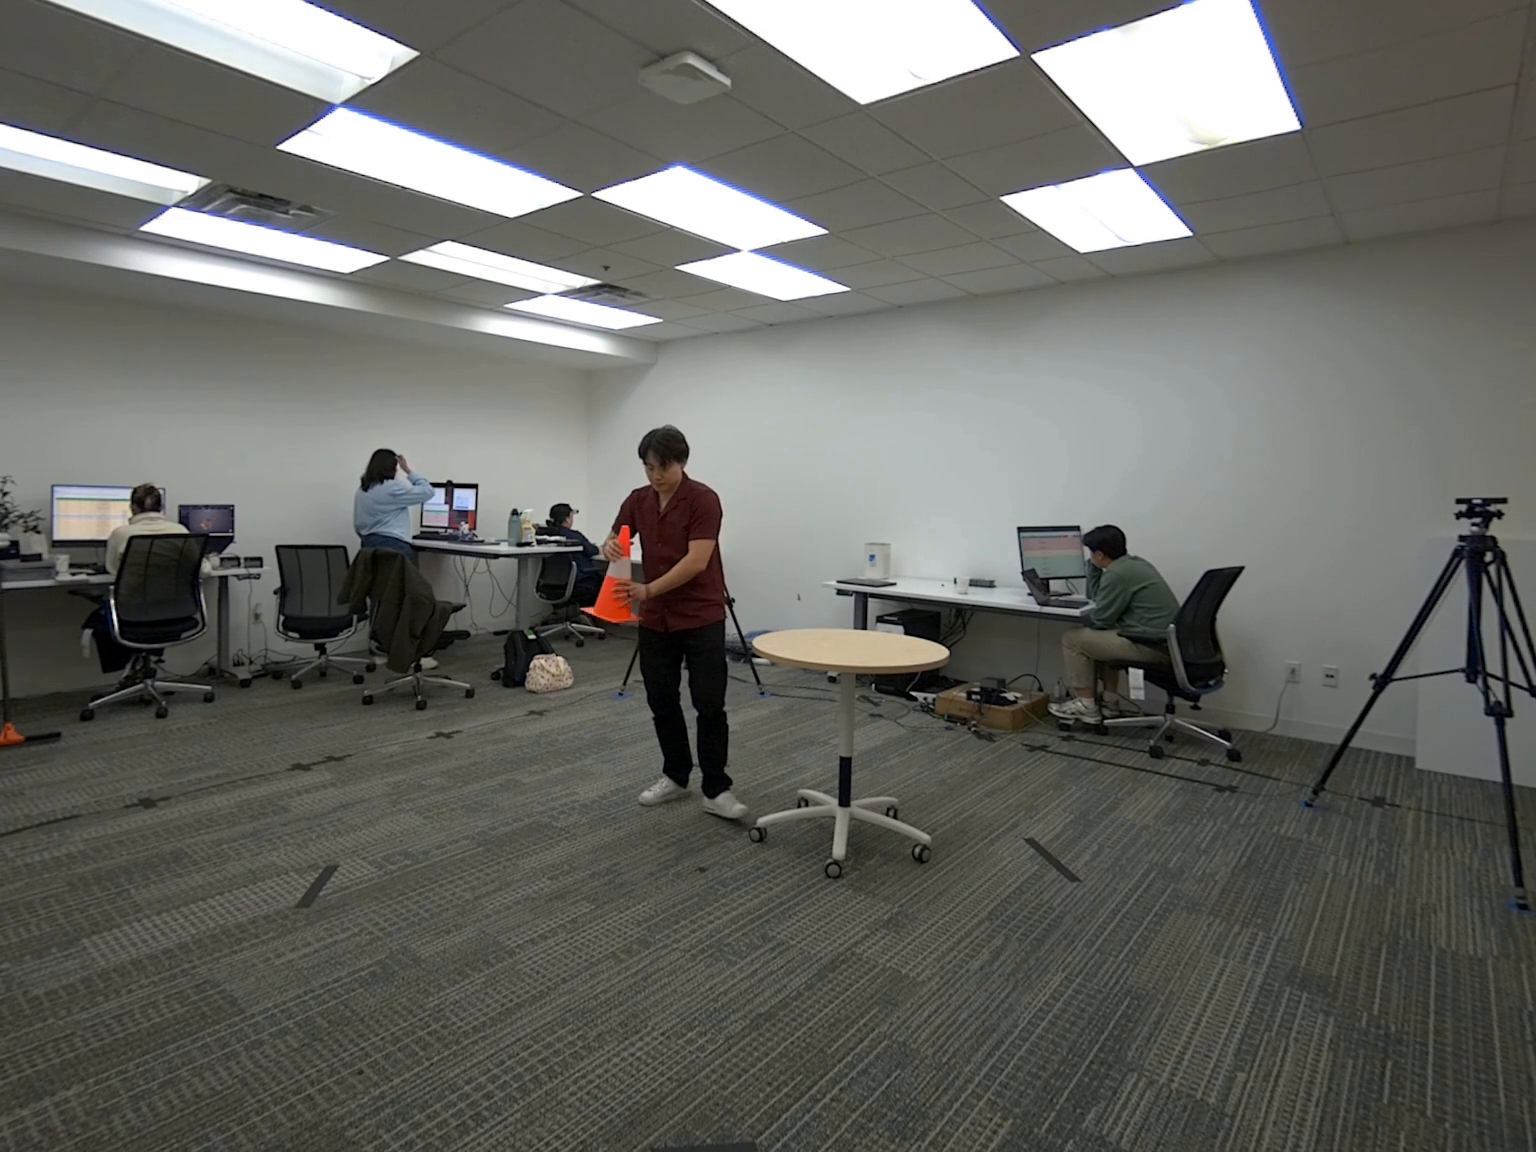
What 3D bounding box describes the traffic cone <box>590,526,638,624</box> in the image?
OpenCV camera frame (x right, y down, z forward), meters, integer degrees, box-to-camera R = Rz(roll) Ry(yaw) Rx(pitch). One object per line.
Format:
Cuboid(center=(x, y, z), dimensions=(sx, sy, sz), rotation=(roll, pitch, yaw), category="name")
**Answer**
Cuboid(center=(-0.629, -0.025, 3.578), dimensions=(0.210, 0.382, 0.199), rotation=(15, 7, 29), category="traffic cone")
